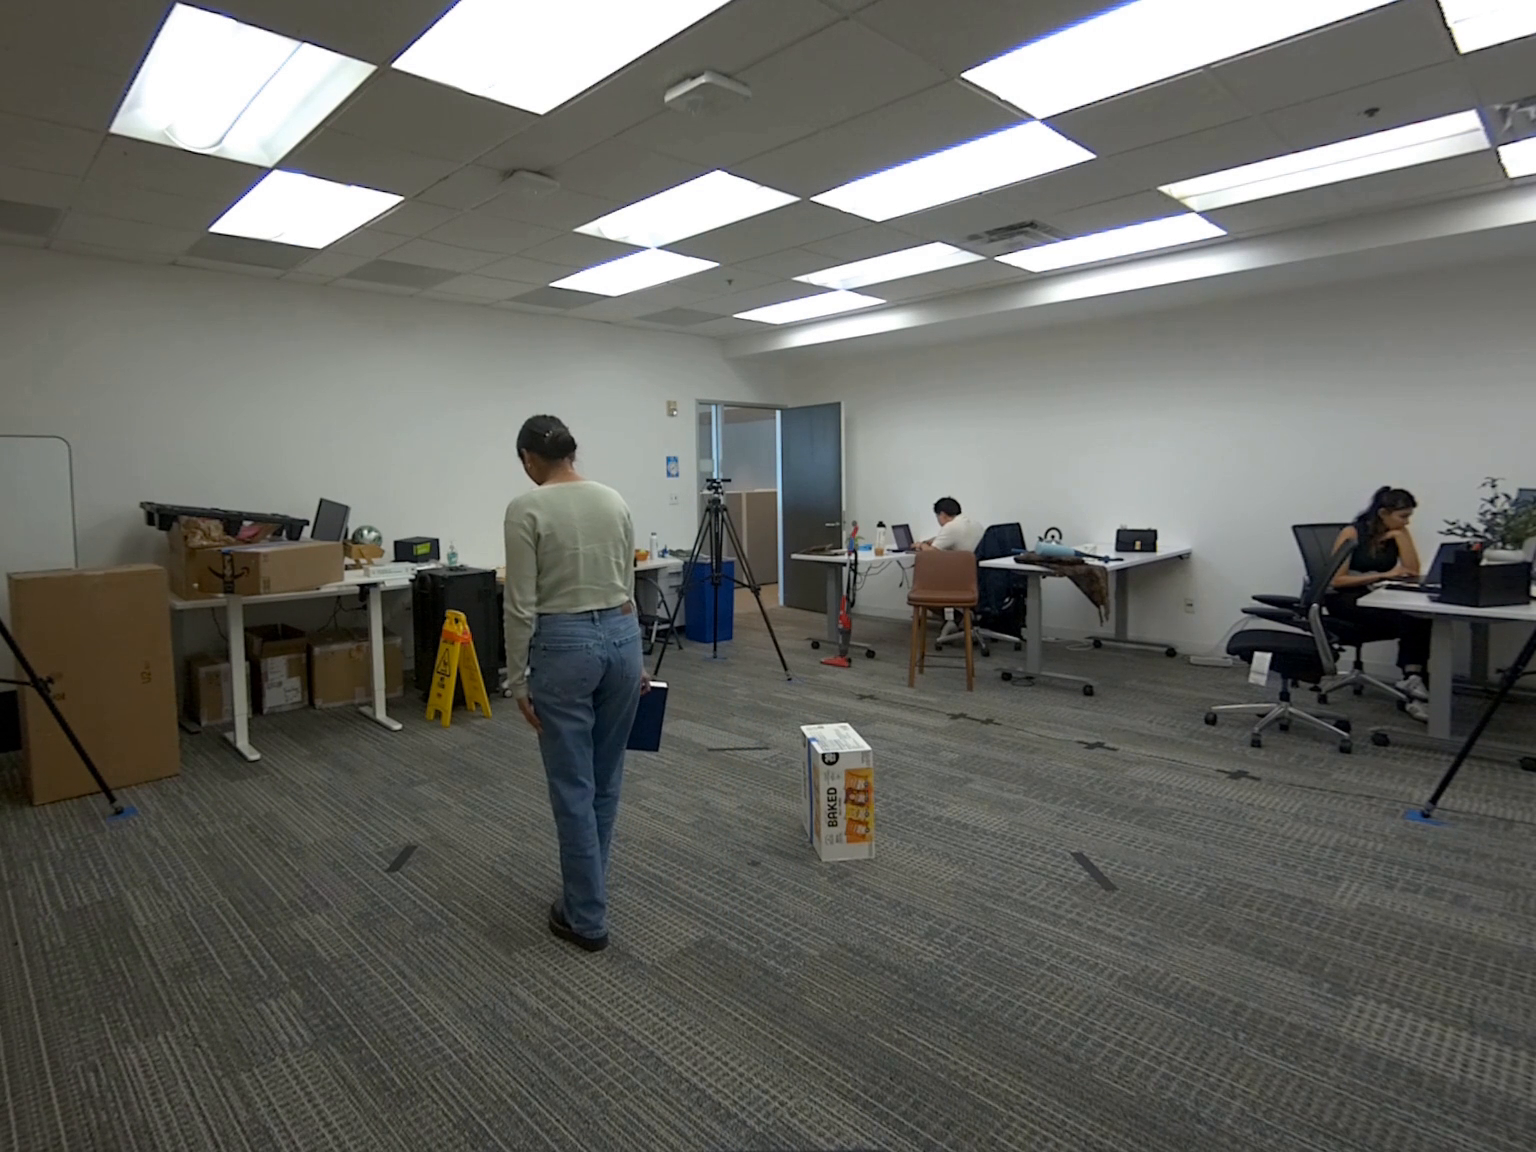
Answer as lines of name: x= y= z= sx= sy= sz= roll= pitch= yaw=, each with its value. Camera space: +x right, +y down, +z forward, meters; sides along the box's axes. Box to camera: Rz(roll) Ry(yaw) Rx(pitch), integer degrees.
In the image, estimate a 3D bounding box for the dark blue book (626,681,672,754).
dark blue book: x=-0.429 y=0.478 z=2.919 sx=0.162 sy=0.242 sz=0.046 roll=7 pitch=15 yaw=-10
